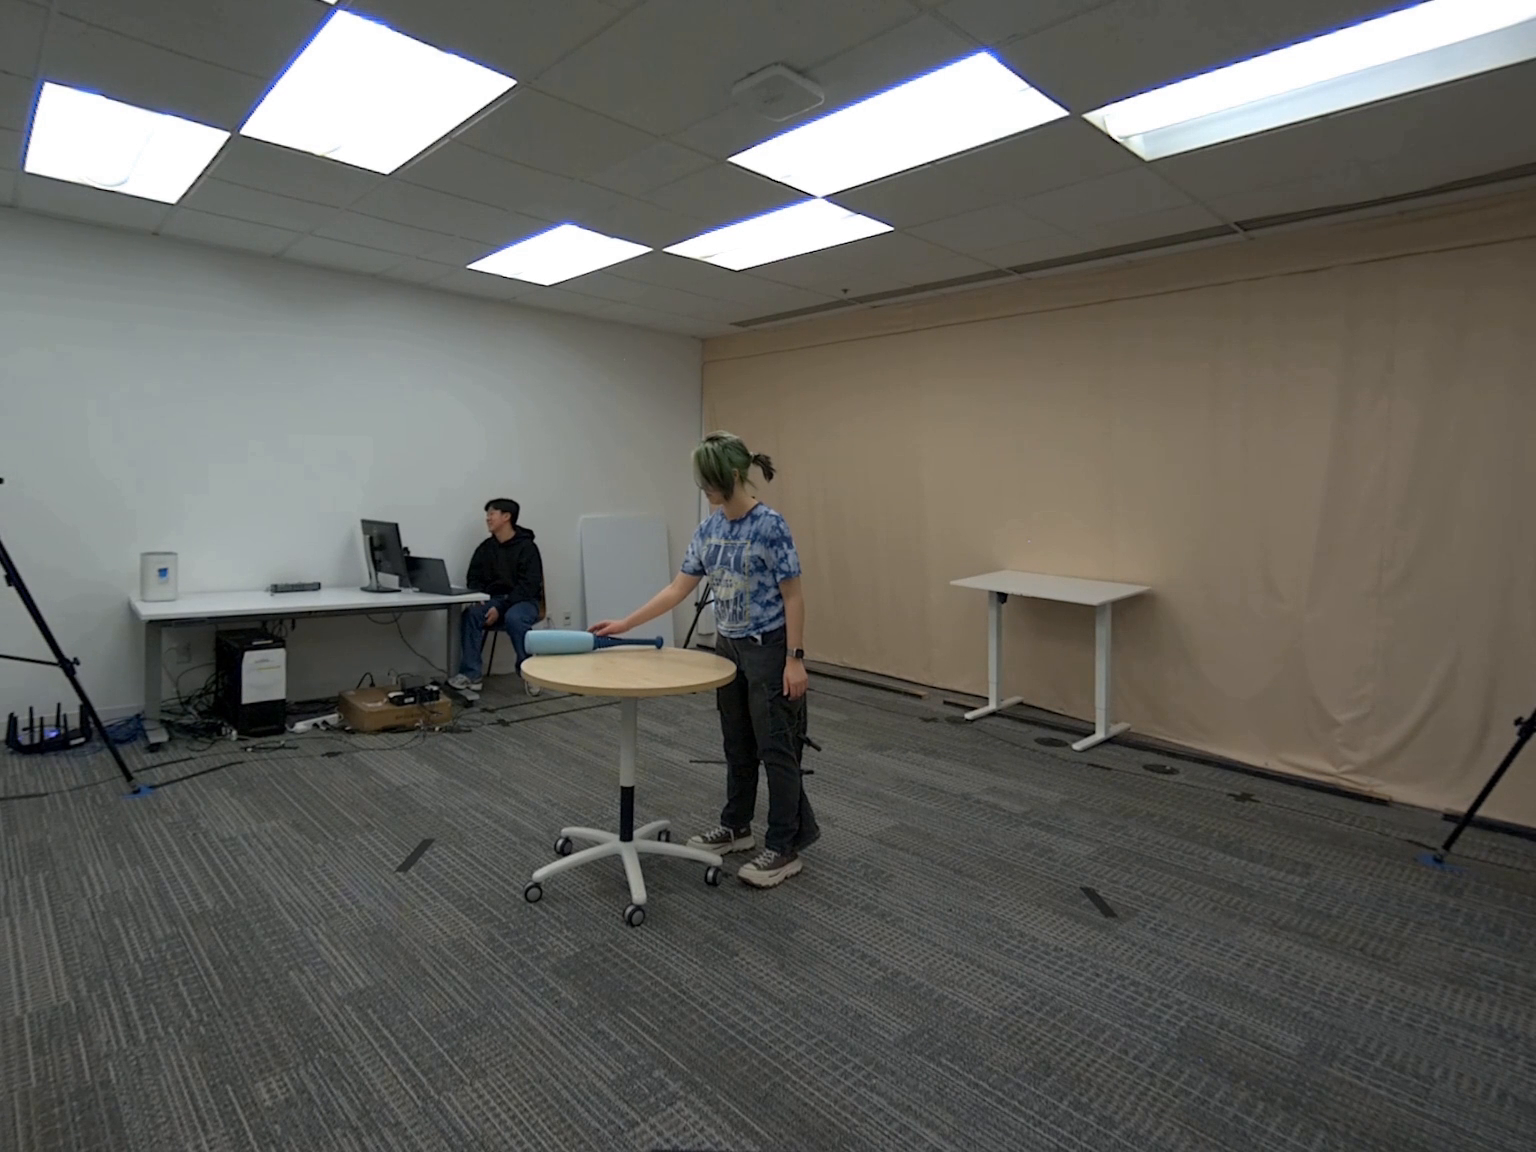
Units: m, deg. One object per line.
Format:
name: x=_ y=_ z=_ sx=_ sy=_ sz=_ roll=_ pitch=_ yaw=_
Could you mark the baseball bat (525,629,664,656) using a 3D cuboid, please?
baseball bat: x=-0.663 y=0.256 z=3.237 sx=0.533 sy=0.089 sz=0.091 roll=3 pitch=3 yaw=-25
